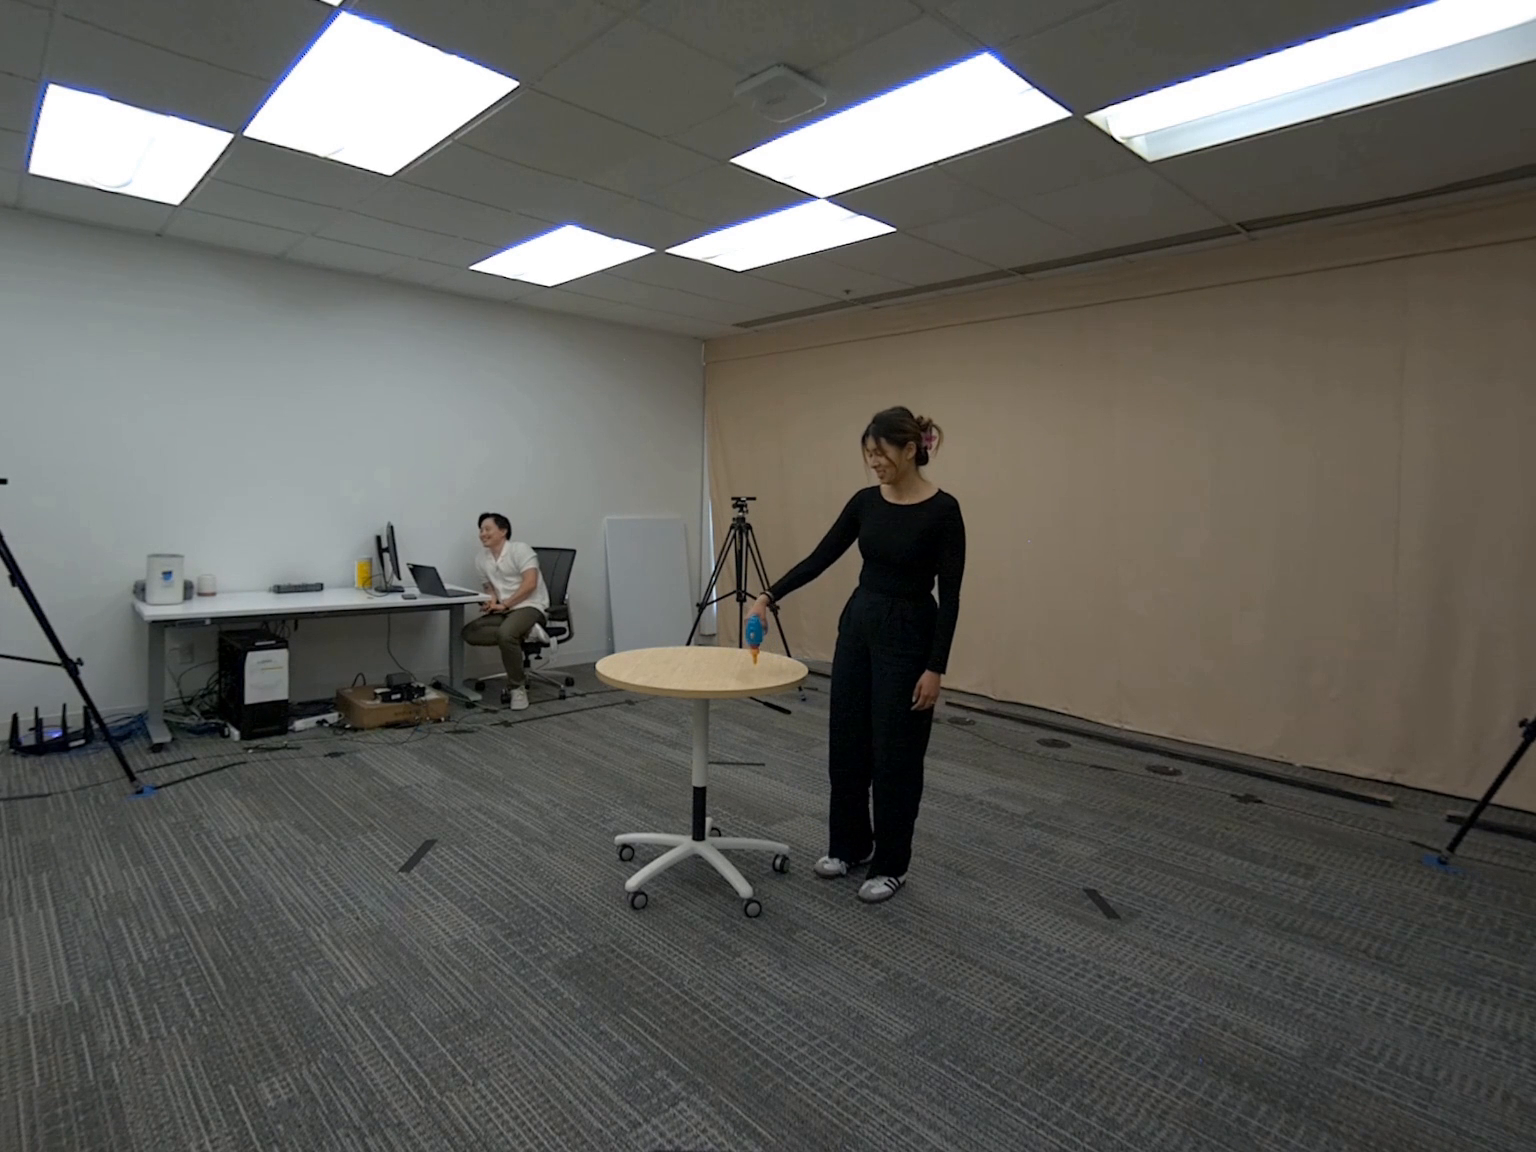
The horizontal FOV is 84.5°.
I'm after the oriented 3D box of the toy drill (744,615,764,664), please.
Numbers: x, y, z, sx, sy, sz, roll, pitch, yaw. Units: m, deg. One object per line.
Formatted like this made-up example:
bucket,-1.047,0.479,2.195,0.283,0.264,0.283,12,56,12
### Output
toy drill,-0.040,0.220,2.919,0.062,0.170,0.145,-3,0,10
